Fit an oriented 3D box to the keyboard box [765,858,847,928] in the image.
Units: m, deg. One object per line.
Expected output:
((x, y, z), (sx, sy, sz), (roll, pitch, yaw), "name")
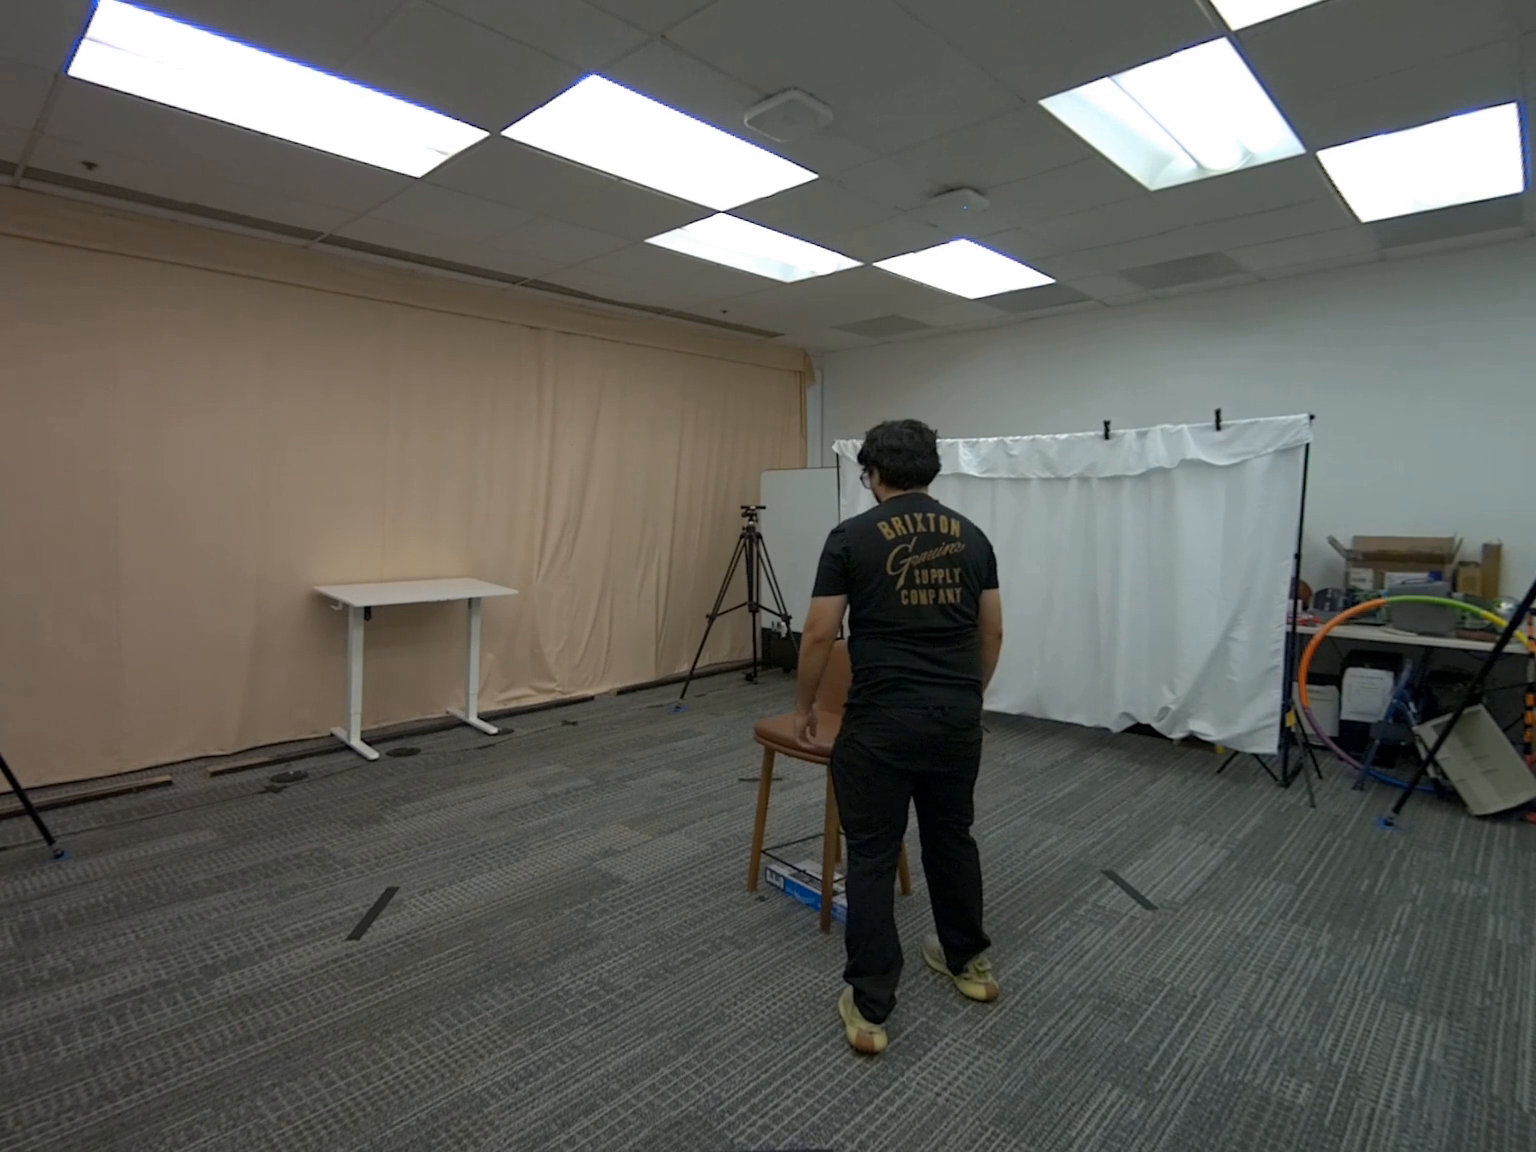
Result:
((0.202, 1.116, 2.988), (0.170, 0.059, 0.451), (-3, 5, -40), "keyboard box")
